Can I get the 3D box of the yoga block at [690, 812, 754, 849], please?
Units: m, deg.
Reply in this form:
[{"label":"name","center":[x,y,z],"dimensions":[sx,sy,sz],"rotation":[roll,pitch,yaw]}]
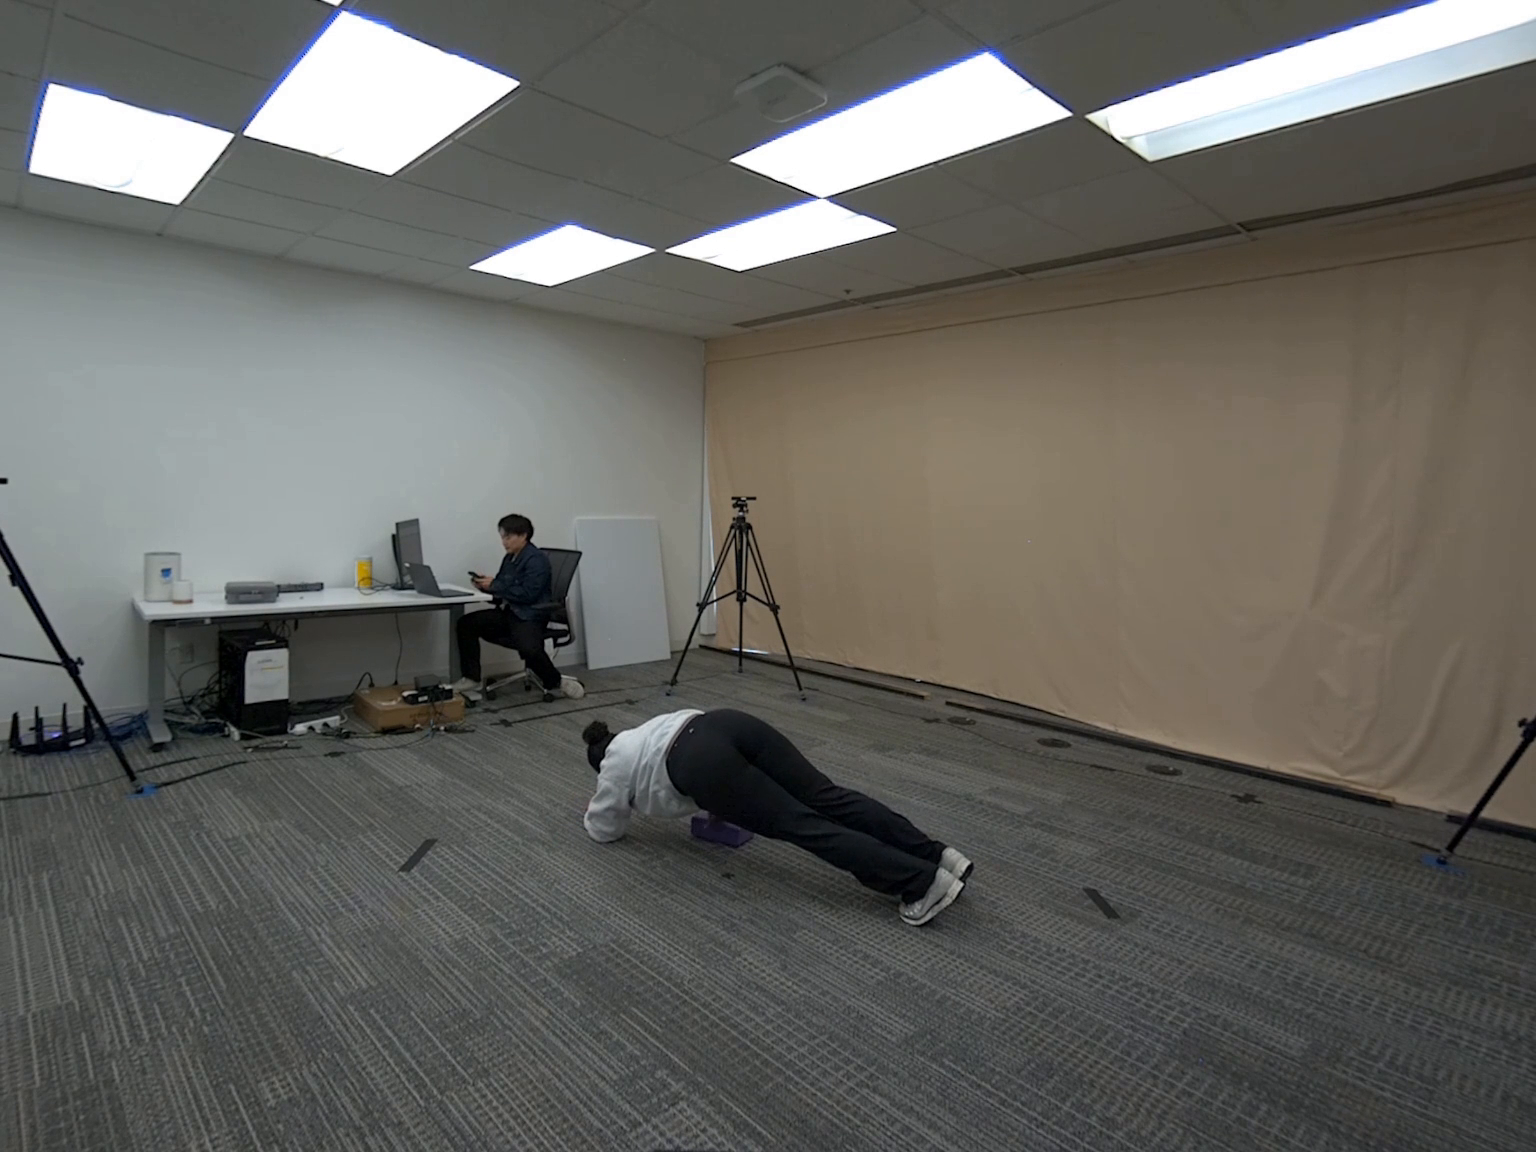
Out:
[{"label":"yoga block","center":[-0.195,1.031,3.471],"dimensions":[0.234,0.076,0.146],"rotation":[4,2,29]}]
